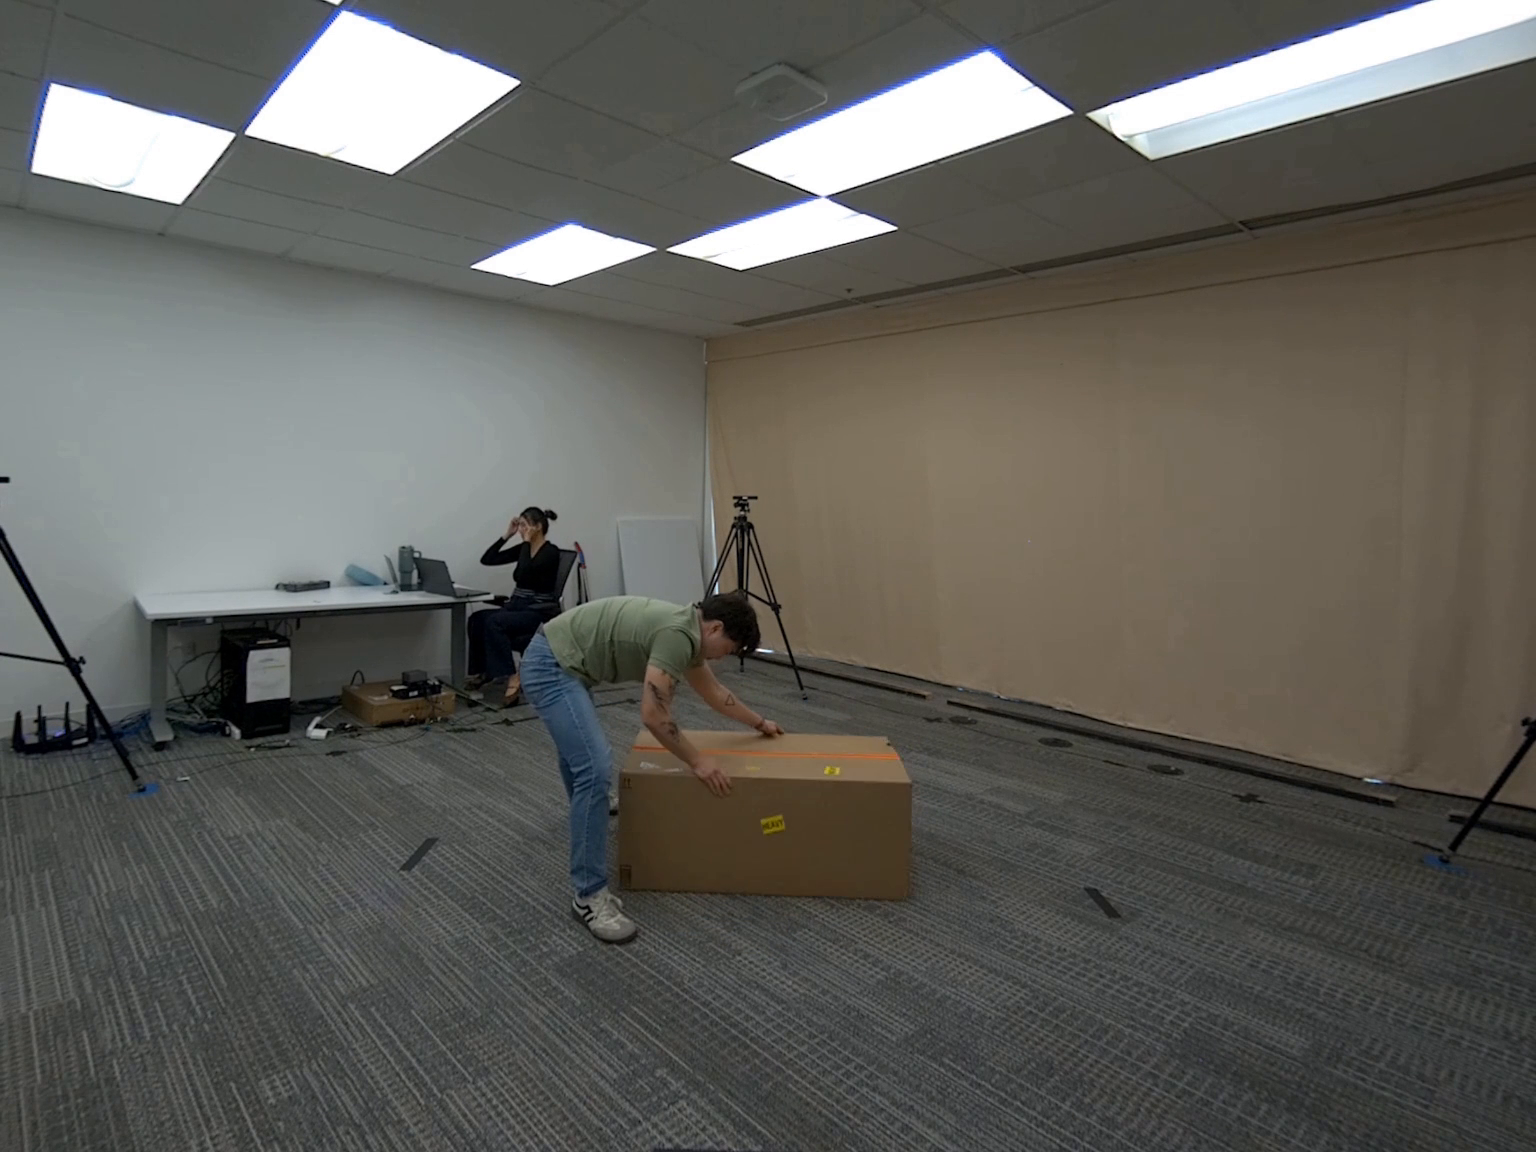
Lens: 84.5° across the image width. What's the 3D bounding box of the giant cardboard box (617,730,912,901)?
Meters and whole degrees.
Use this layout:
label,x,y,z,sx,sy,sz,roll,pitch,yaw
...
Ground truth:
label,x,y,z,sx,sy,sz,roll,pitch,yaw
giant cardboard box,-0.027,0.881,3.224,1.027,0.425,0.579,2,5,1
